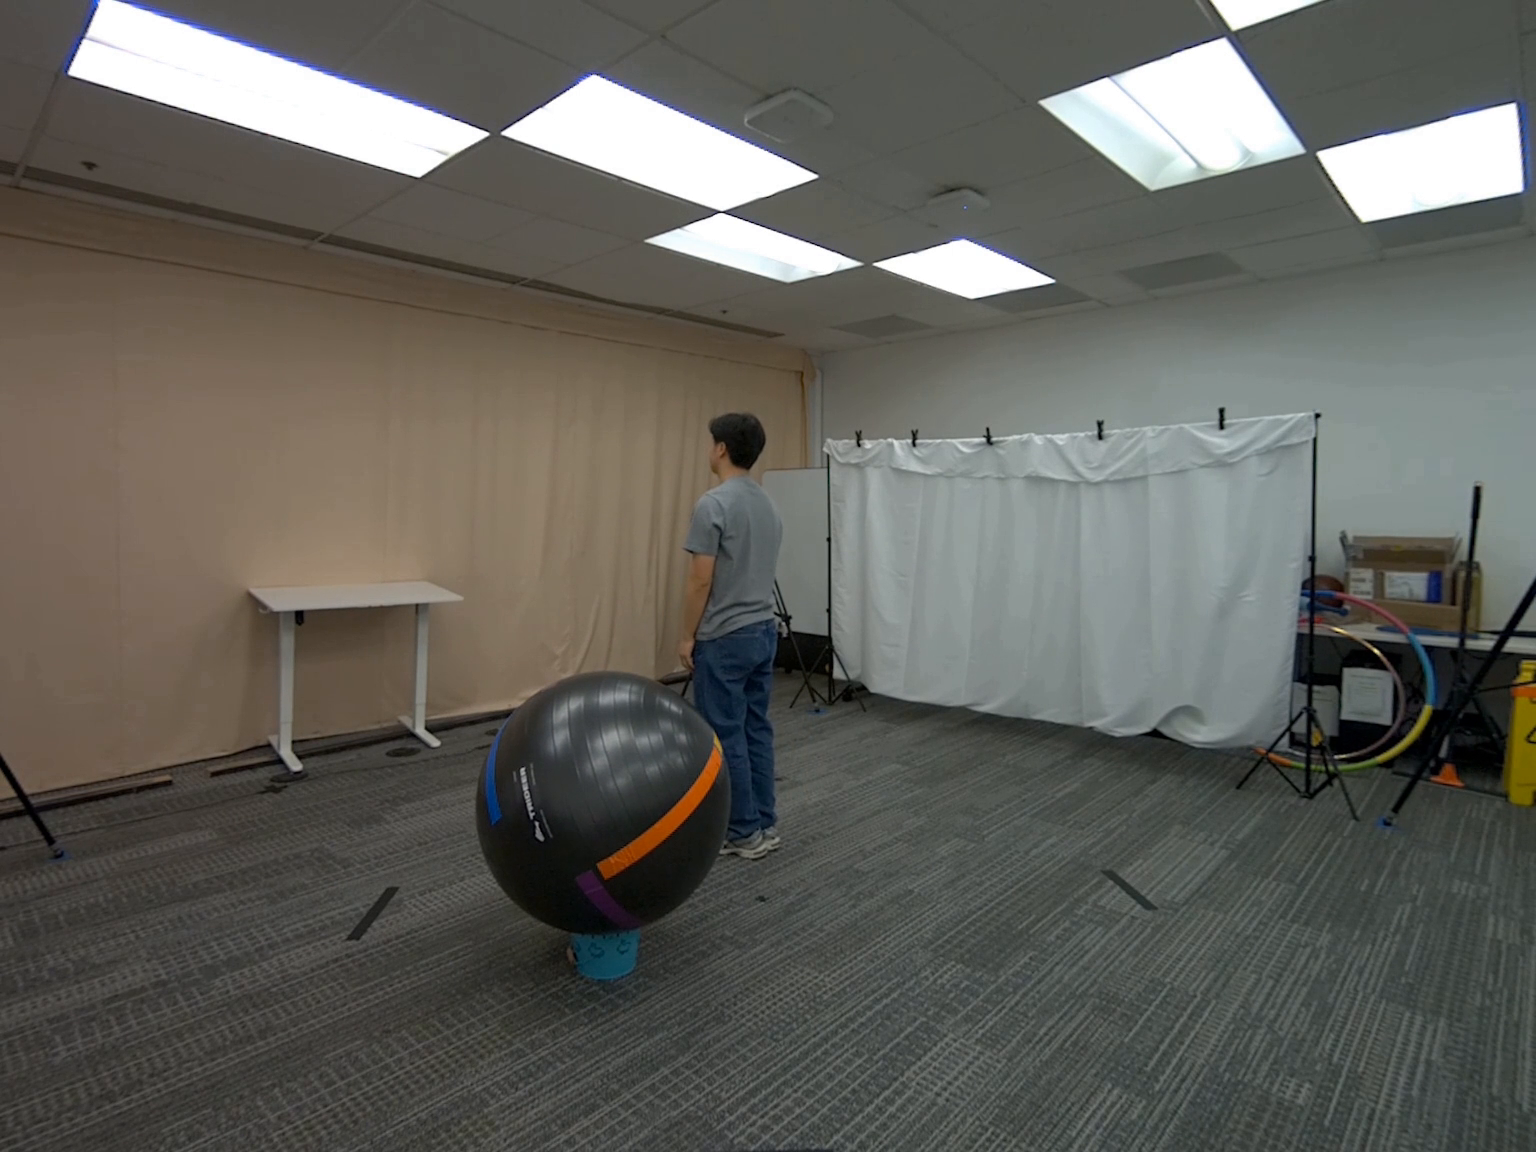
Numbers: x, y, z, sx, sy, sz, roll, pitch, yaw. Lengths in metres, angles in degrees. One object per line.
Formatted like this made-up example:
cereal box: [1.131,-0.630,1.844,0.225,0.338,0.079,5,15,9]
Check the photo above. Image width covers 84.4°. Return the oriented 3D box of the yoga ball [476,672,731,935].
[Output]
yoga ball: [-0.501,0.675,2.547,0.757,0.756,0.760,0,4,-2]
